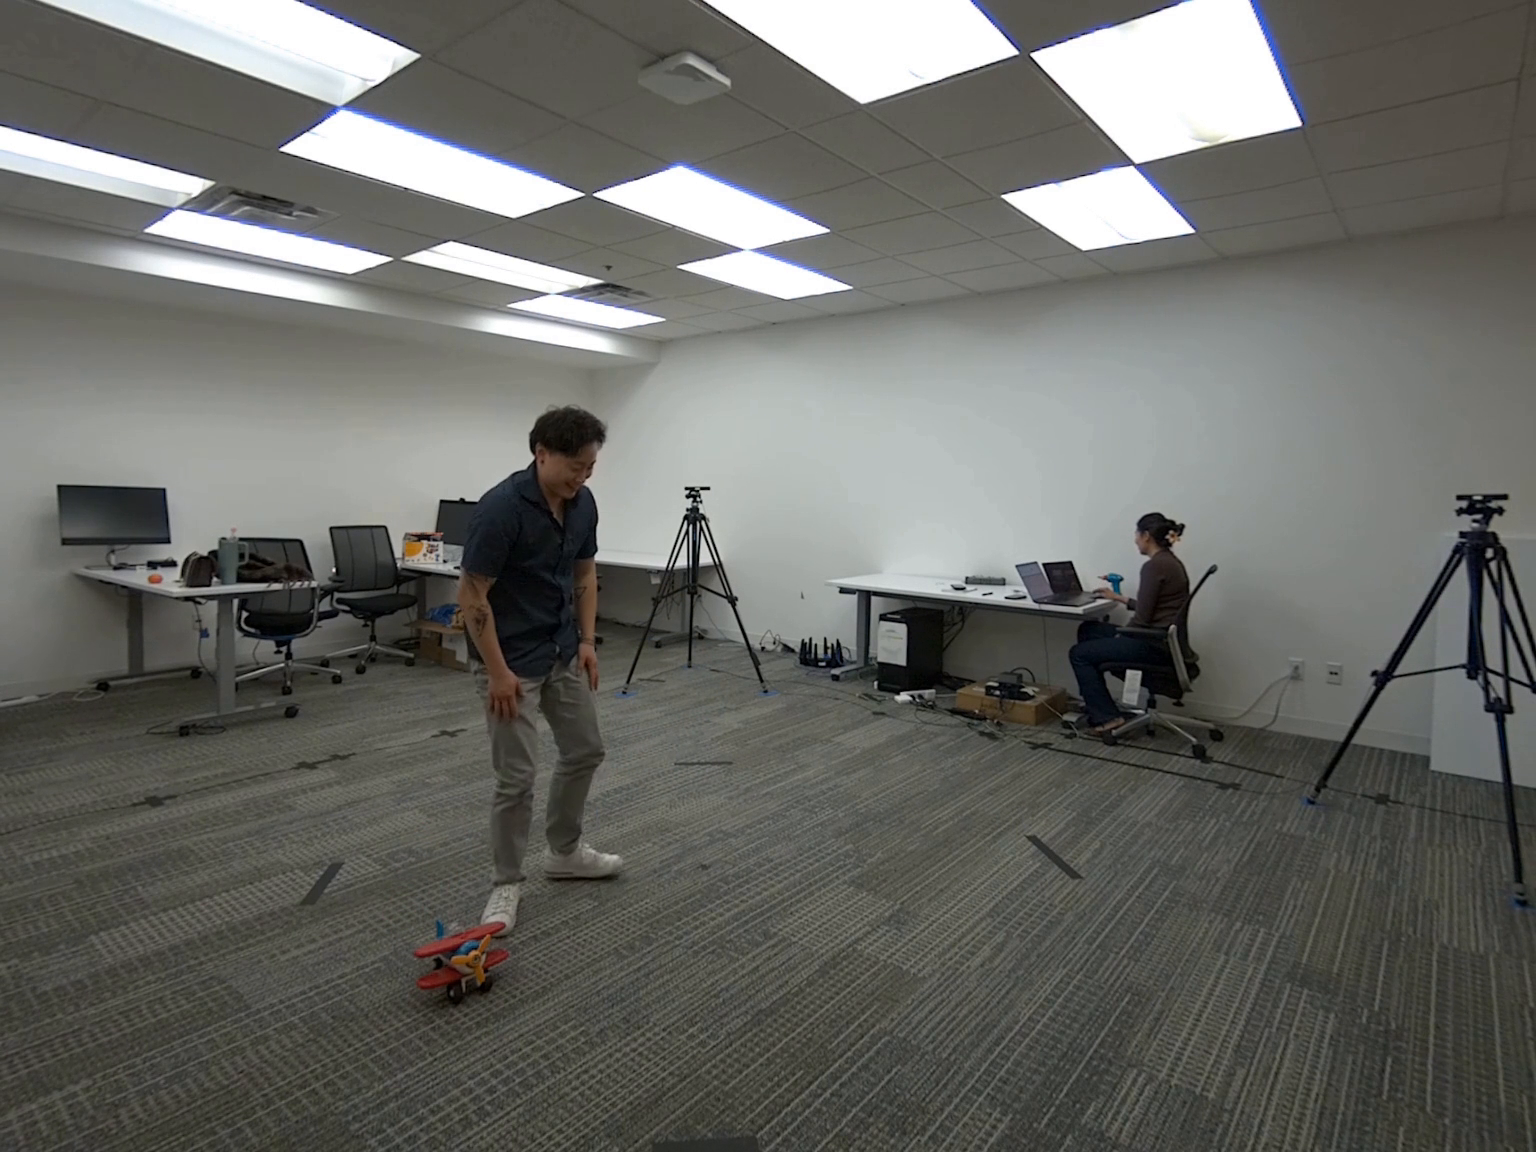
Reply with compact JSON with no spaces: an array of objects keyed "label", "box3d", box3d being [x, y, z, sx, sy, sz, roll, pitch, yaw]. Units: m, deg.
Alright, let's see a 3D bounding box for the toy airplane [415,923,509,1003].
[{"label":"toy airplane","box3d":[-0.890,1.059,2.358,0.265,0.156,0.247,4,6,20]}]
